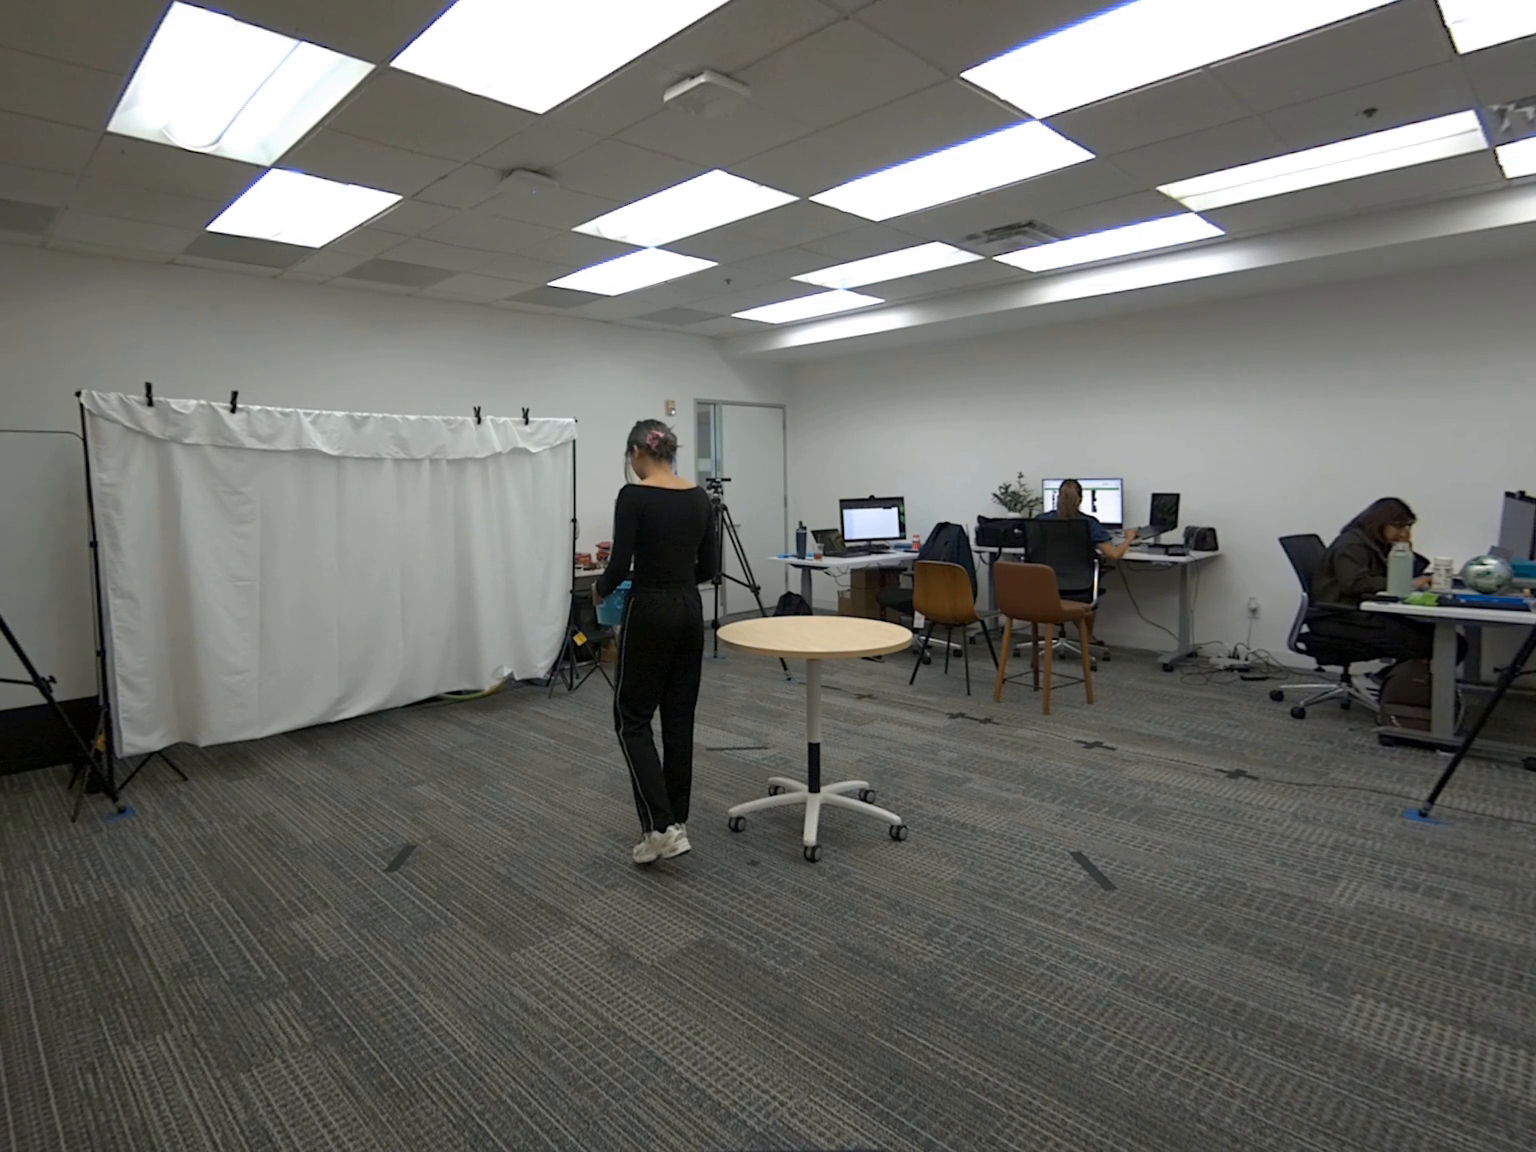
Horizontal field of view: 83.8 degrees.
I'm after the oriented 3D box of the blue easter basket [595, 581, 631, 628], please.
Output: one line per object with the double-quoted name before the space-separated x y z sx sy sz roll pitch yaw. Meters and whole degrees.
"blue easter basket" -0.580 0.115 3.455 0.243 0.155 0.244 1 4 -2
